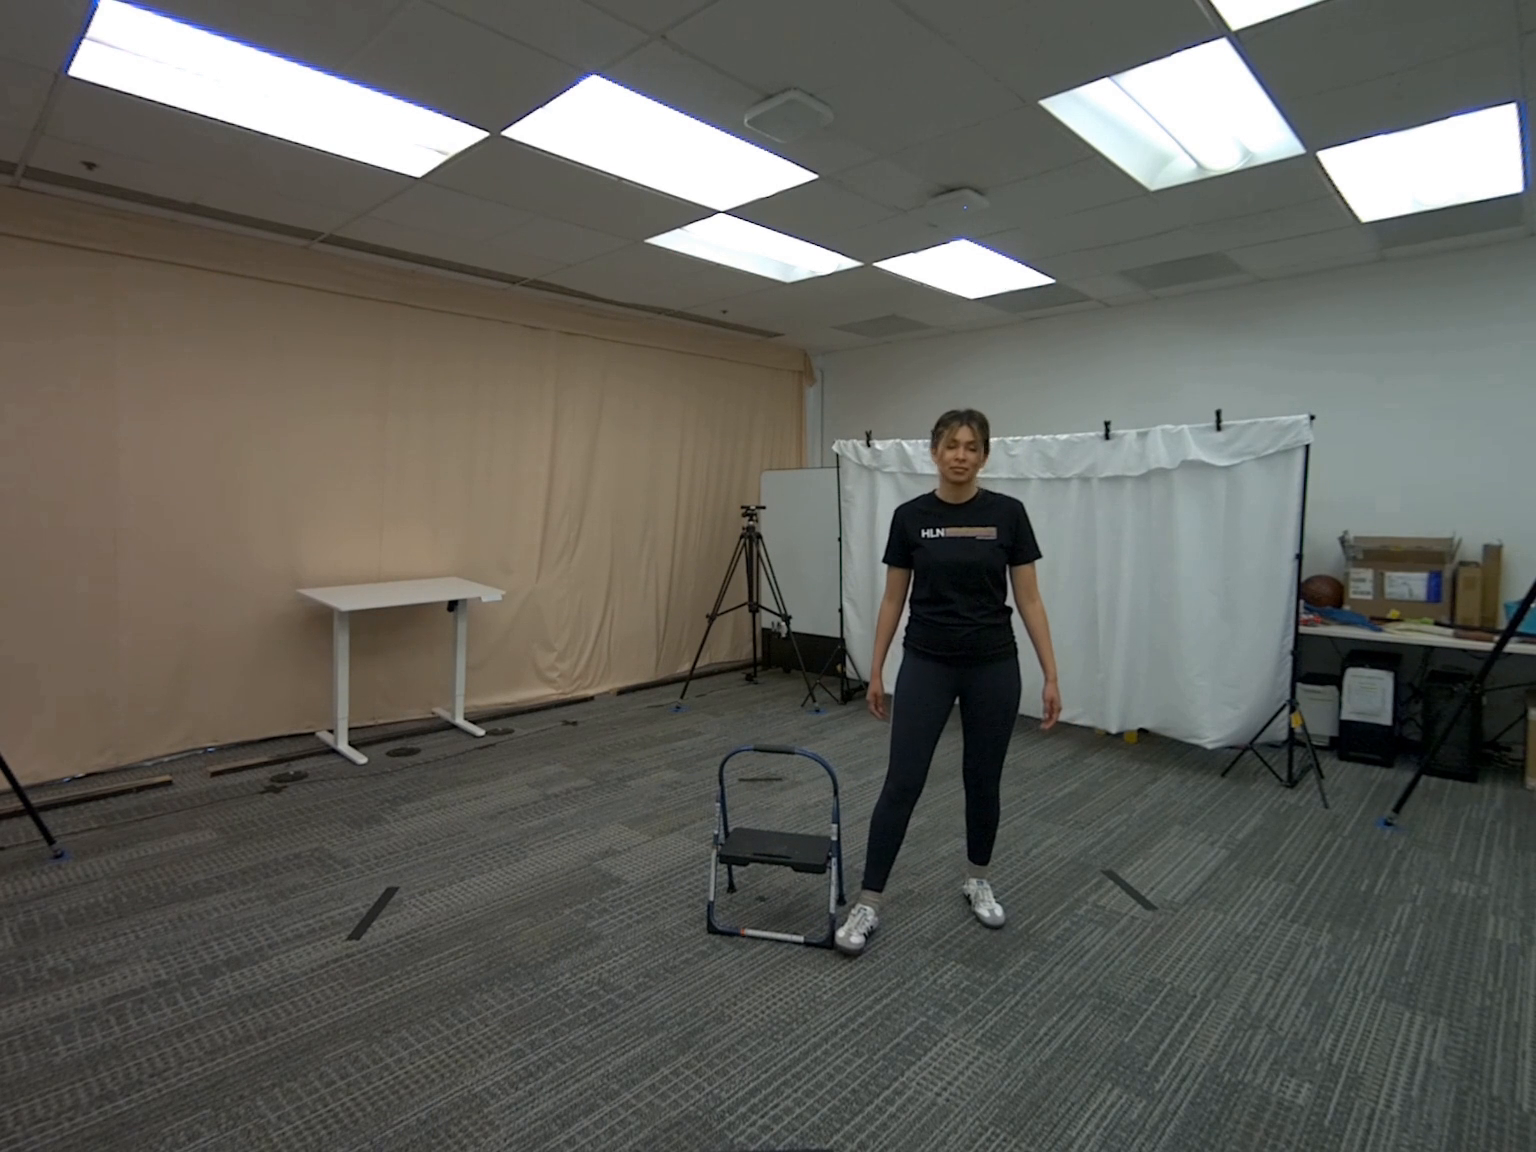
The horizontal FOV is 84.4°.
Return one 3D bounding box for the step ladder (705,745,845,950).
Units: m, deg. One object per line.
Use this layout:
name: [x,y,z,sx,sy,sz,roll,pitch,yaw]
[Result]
step ladder: [0.035,0.857,2.837,0.437,0.605,0.345,2,3,12]
